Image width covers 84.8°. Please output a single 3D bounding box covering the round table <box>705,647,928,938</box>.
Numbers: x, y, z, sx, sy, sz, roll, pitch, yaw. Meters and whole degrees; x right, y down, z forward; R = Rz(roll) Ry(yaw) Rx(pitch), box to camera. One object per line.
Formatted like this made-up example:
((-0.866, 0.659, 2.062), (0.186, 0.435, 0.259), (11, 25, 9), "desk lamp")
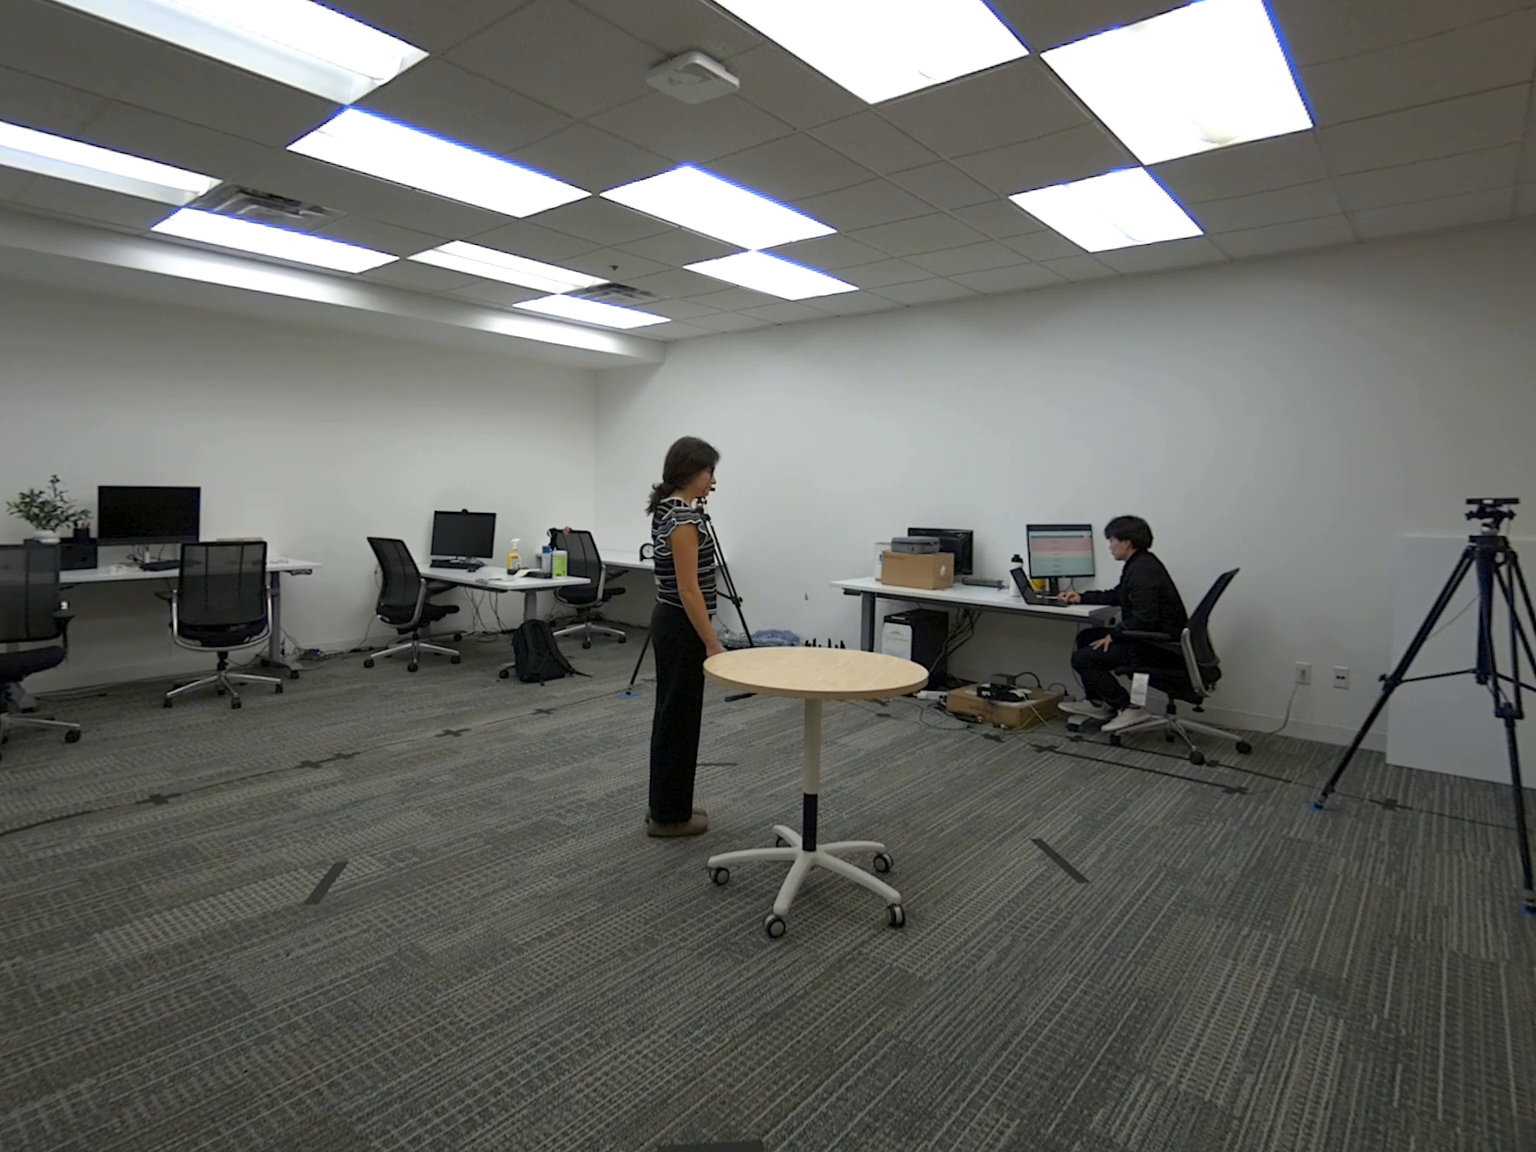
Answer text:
((0.146, 0.703, 2.946), (0.763, 0.792, 0.767), (1, 4, -2), "round table")
